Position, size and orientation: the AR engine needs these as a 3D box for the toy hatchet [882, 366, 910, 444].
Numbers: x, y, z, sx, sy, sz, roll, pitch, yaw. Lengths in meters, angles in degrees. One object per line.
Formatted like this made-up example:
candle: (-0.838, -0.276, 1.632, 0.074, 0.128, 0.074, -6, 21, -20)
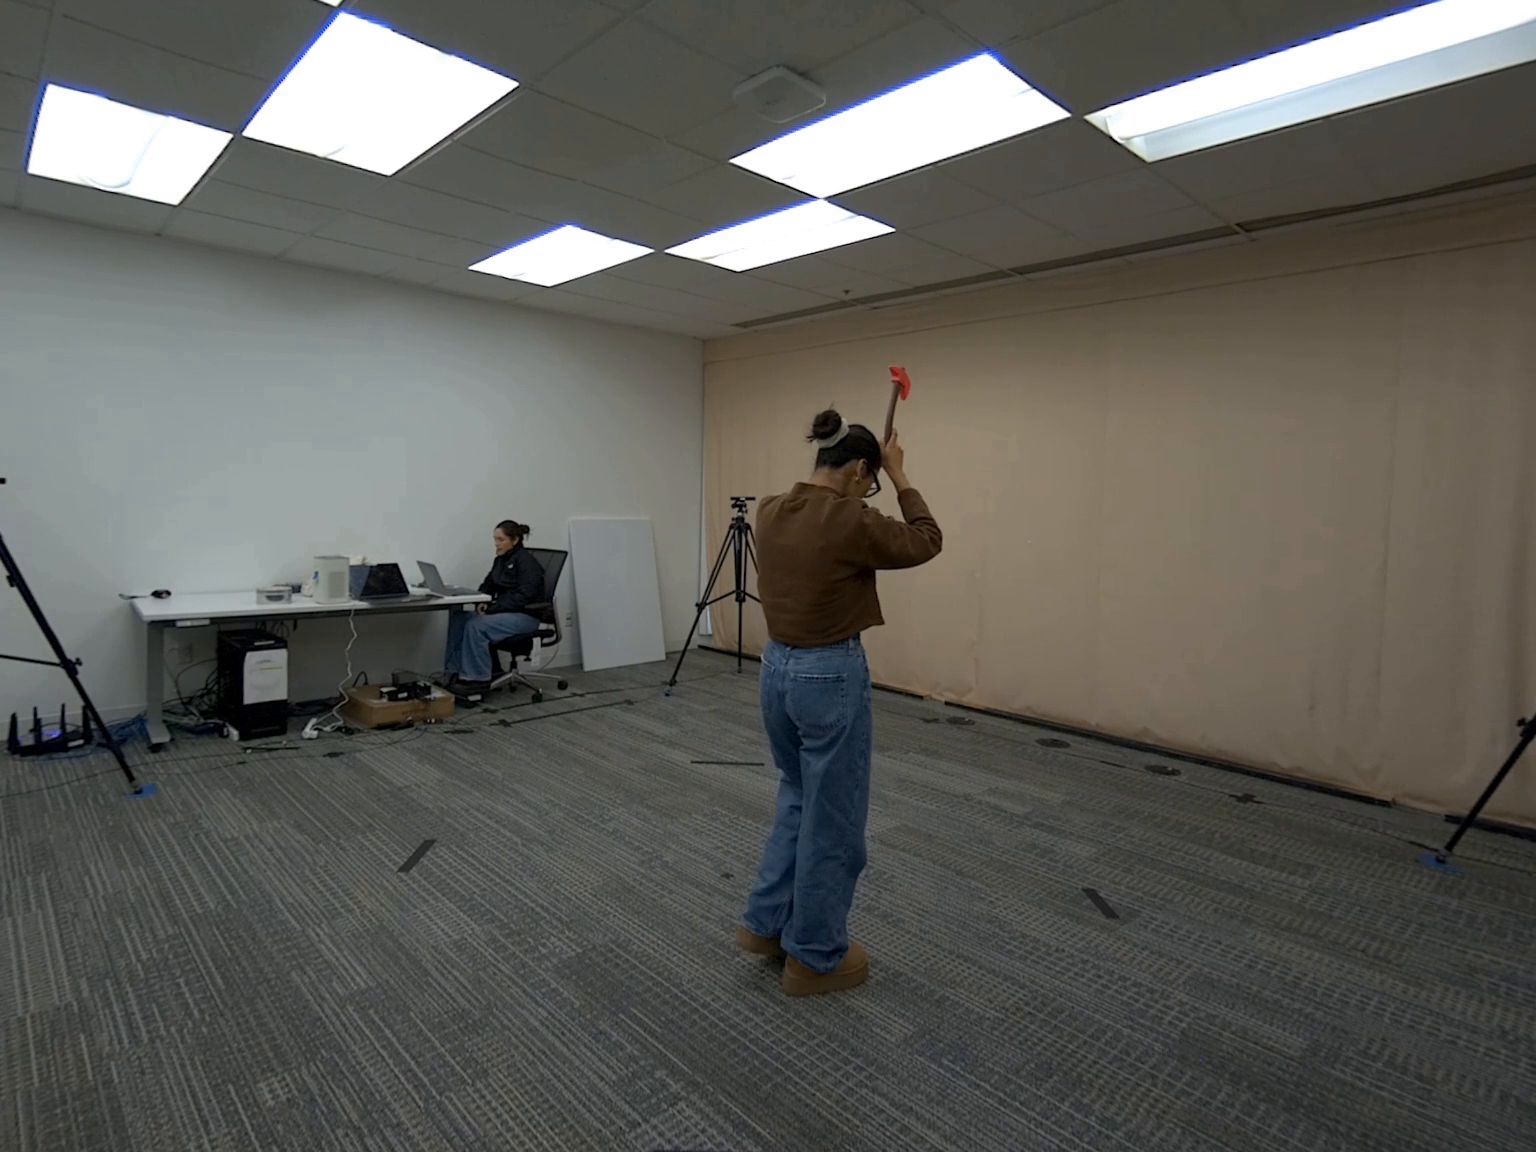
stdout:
toy hatchet: (0.378, -0.493, 2.522, 0.030, 0.269, 0.128, 5, 3, 34)
